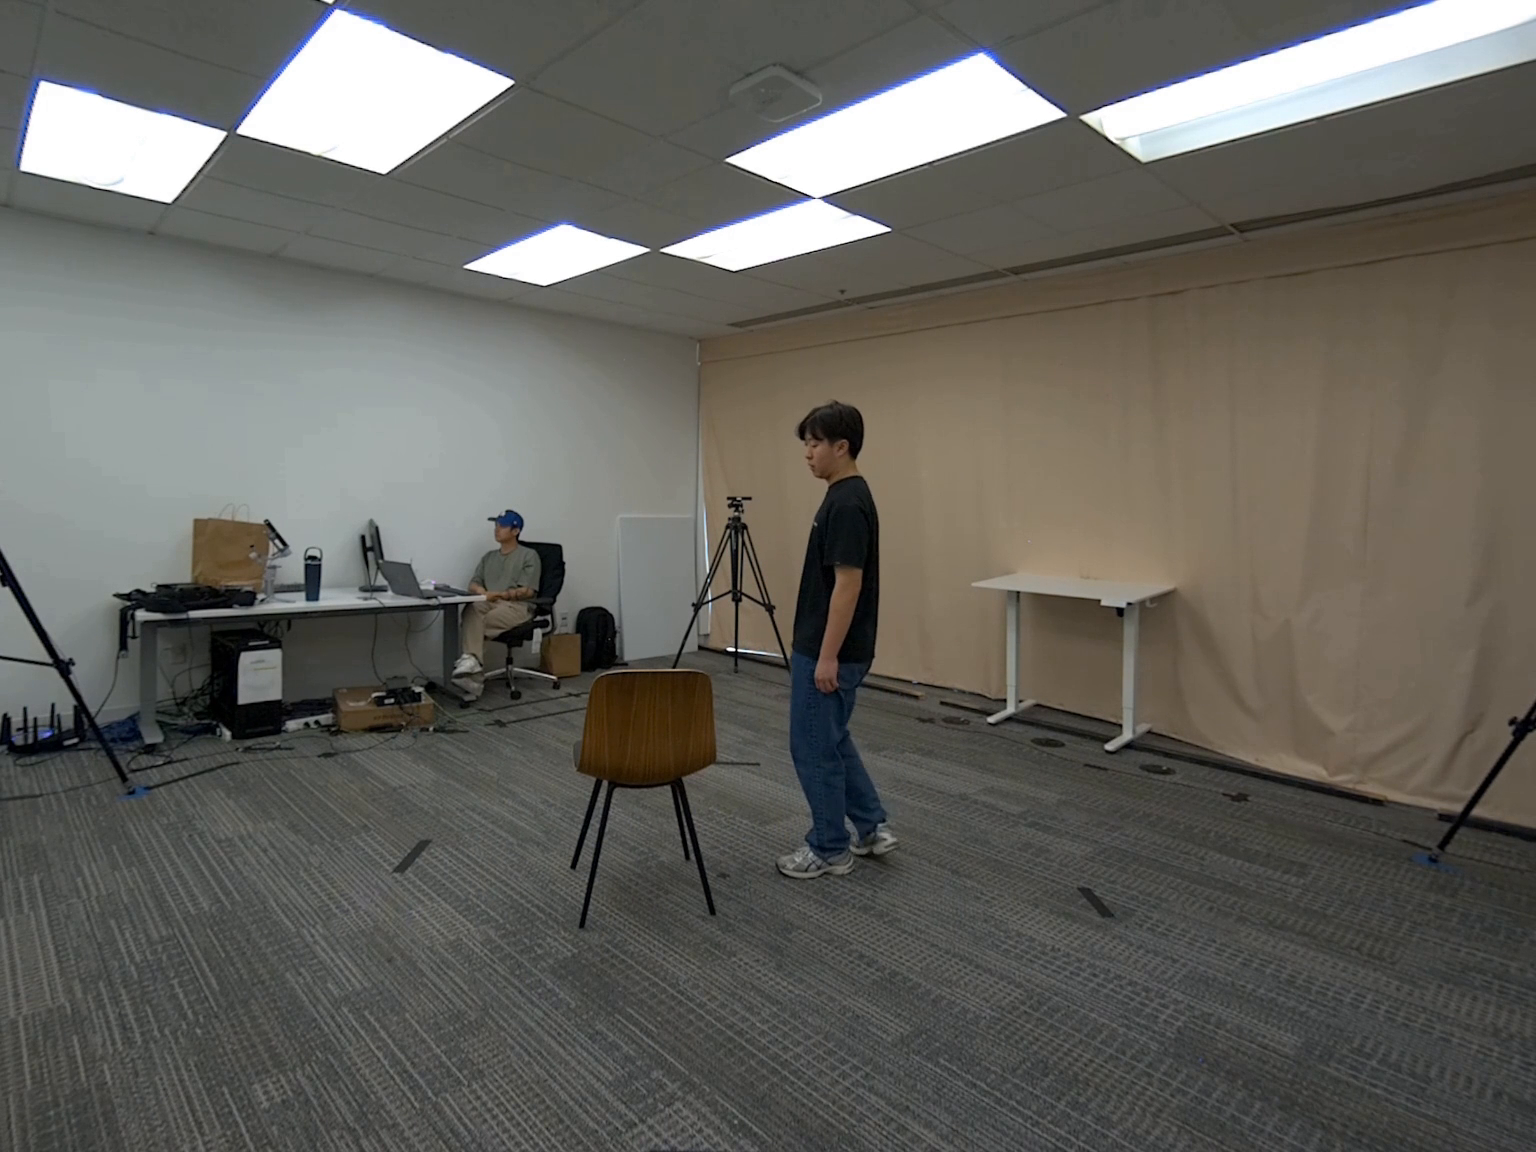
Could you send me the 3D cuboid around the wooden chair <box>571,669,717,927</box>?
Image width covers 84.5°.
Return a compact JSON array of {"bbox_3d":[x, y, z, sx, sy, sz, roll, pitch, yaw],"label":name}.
[{"bbox_3d":[-0.442,0.687,2.942,0.472,0.873,0.532,0,8,-16],"label":"wooden chair"}]
